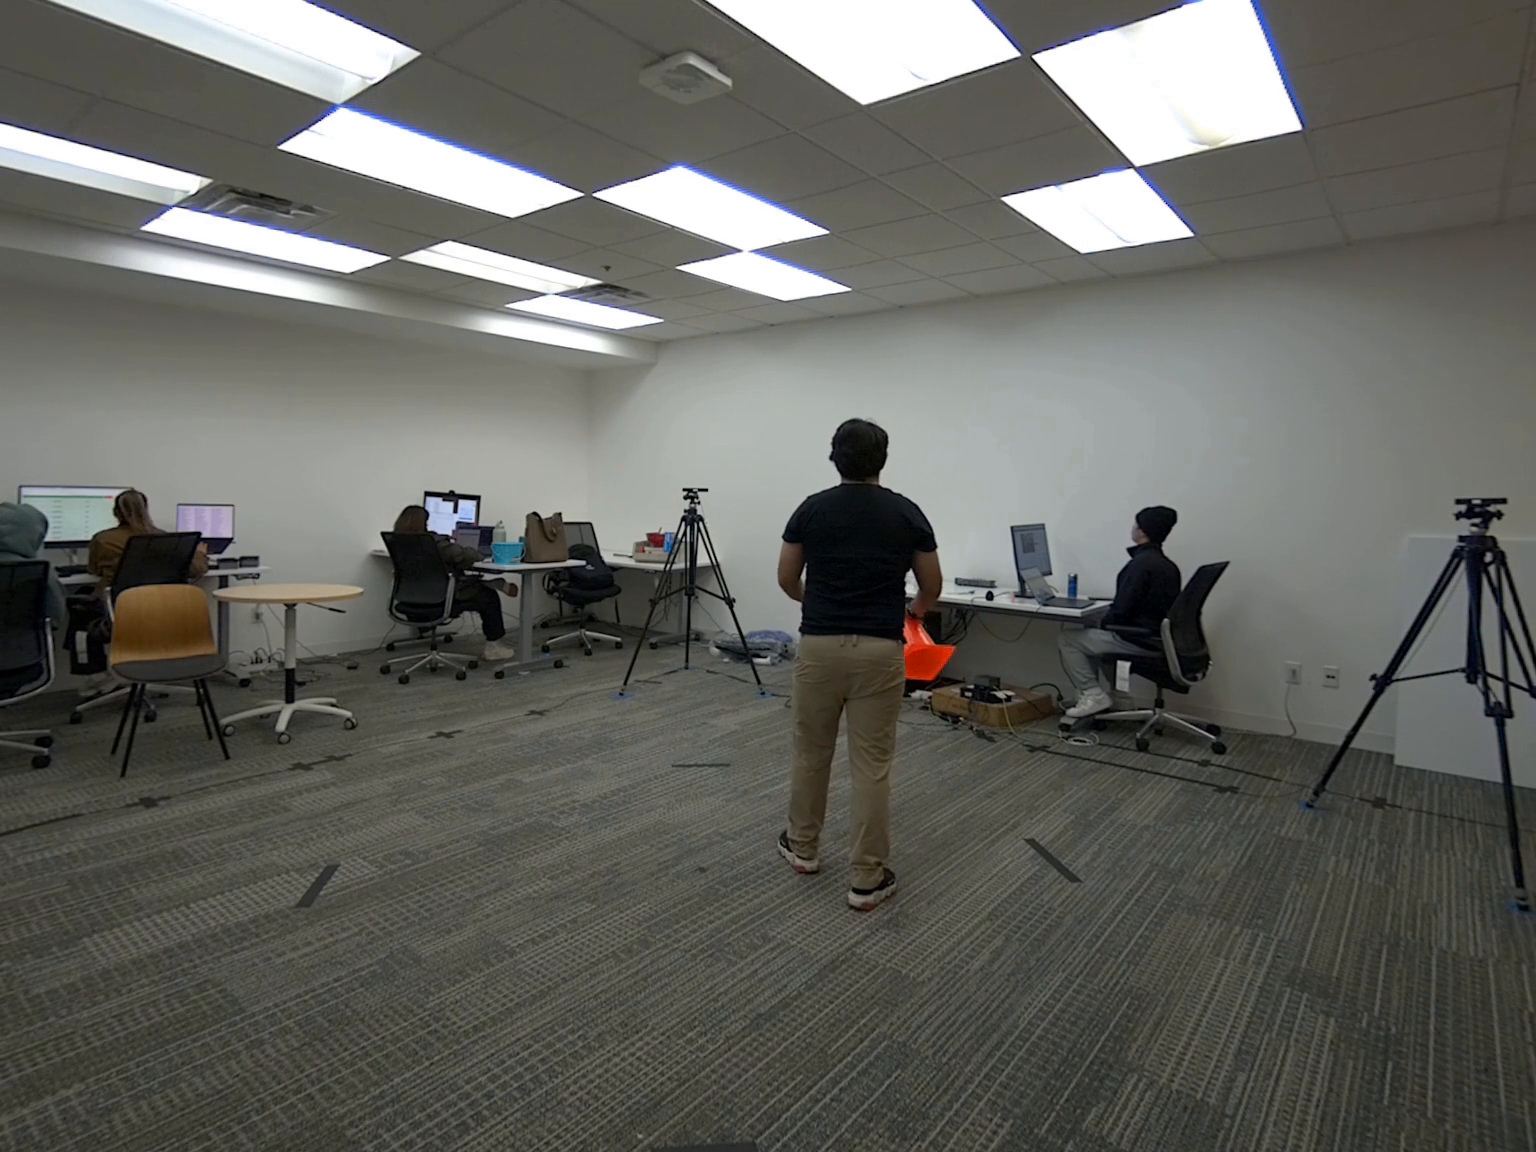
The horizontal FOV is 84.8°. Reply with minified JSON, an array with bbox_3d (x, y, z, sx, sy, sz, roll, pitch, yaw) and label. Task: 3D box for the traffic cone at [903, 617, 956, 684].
[{"bbox_3d":[0.539,0.190,3.330,0.202,0.199,0.397,3,42,-15],"label":"traffic cone"}]
